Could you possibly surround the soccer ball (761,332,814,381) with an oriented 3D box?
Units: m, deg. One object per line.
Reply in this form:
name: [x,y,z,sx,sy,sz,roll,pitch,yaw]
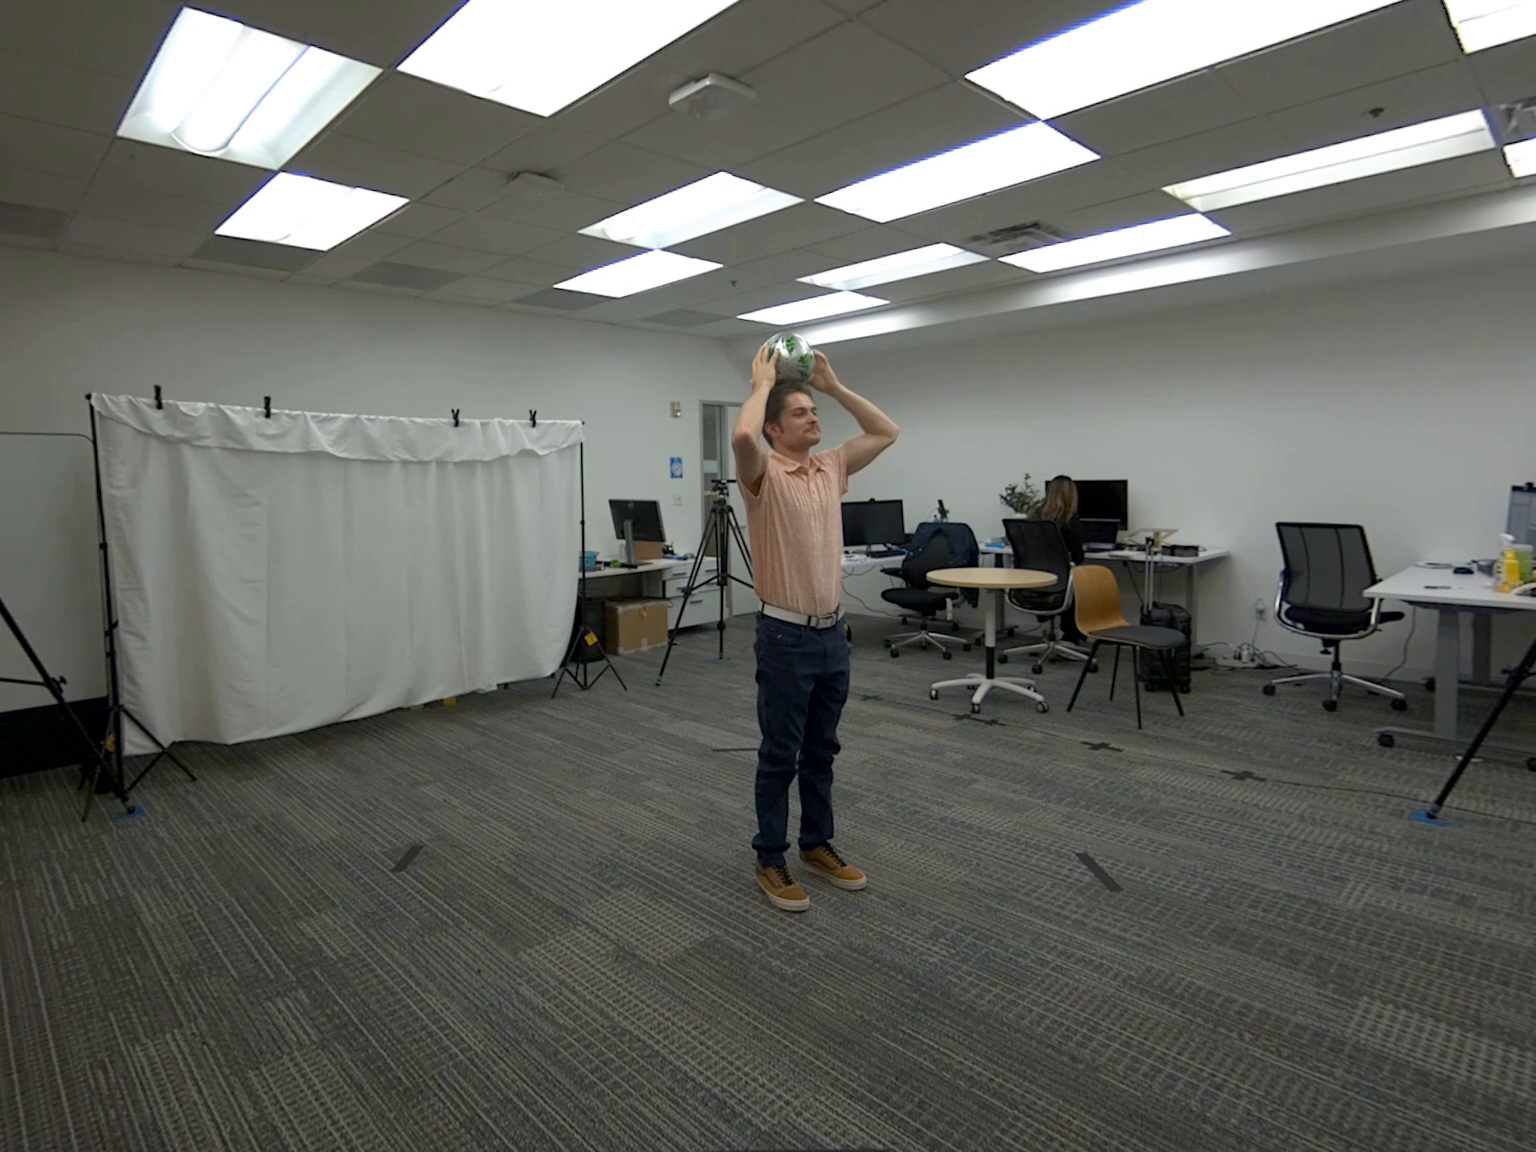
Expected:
soccer ball: [0.066,-0.723,2.875,0.187,0.187,0.188,-1,5,-2]
